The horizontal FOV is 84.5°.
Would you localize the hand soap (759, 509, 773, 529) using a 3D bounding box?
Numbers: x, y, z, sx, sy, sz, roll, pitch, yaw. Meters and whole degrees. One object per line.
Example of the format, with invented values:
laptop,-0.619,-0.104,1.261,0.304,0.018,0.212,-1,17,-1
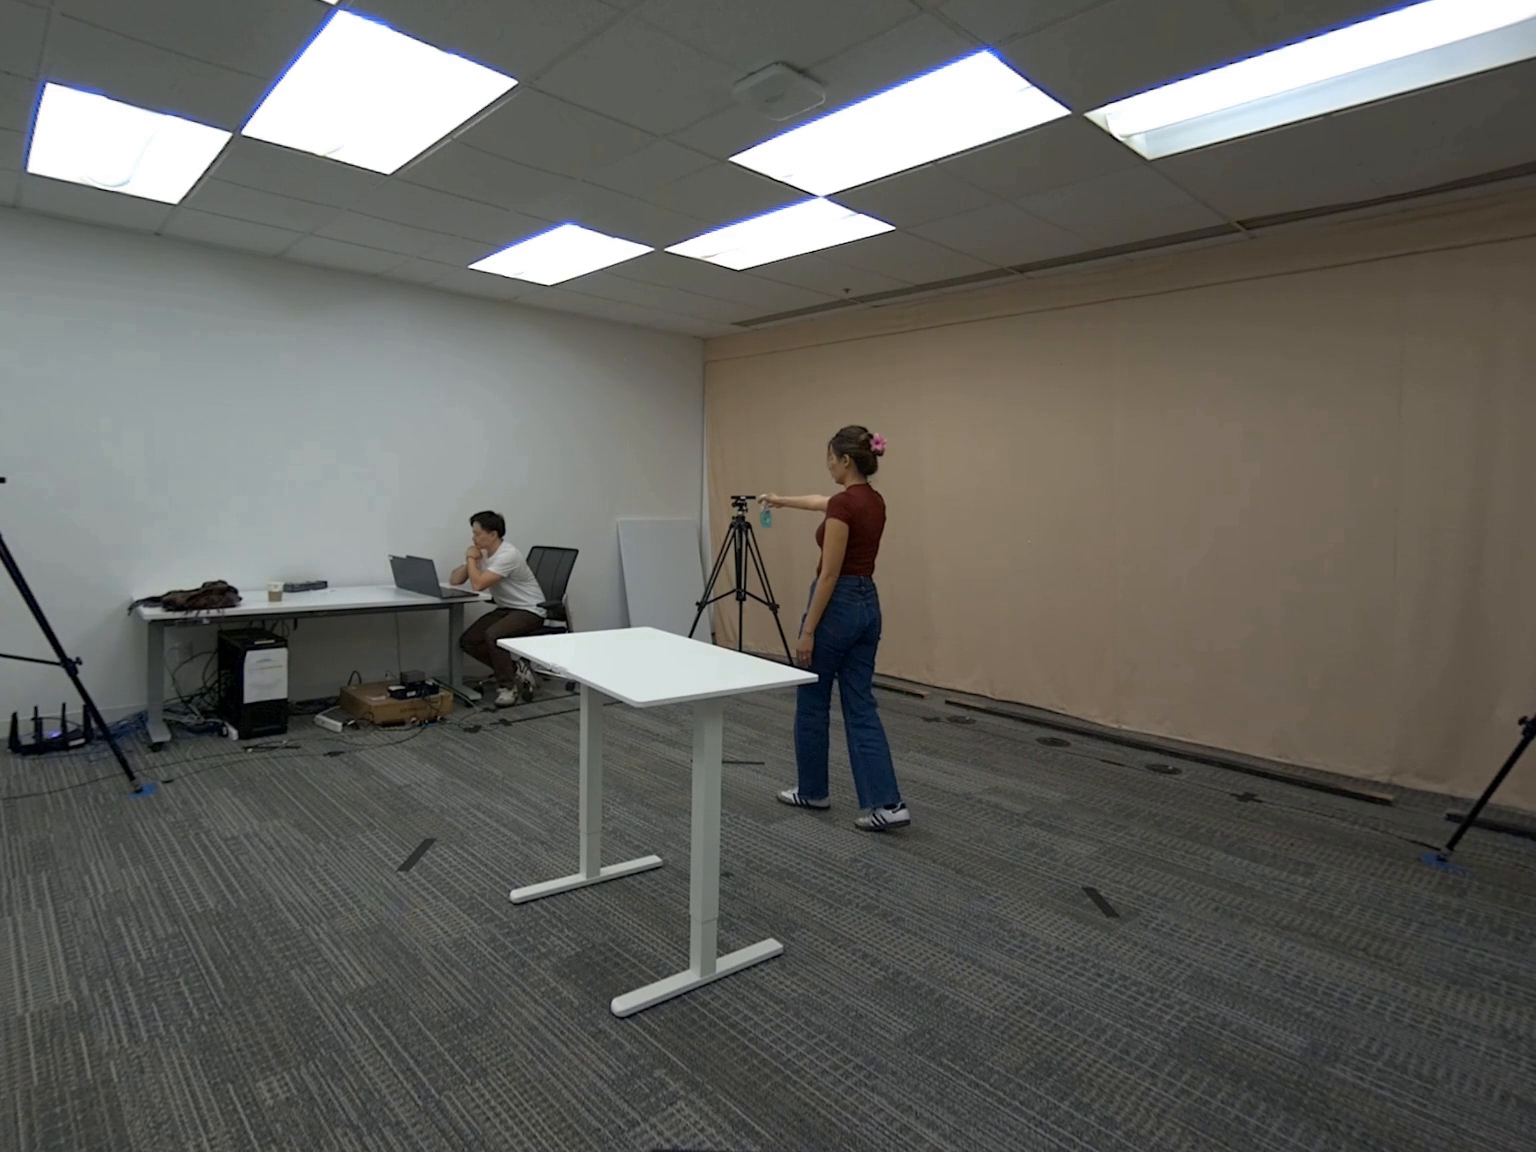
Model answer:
hand soap,-0.019,-0.331,4.251,0.044,0.167,0.083,-1,7,34
